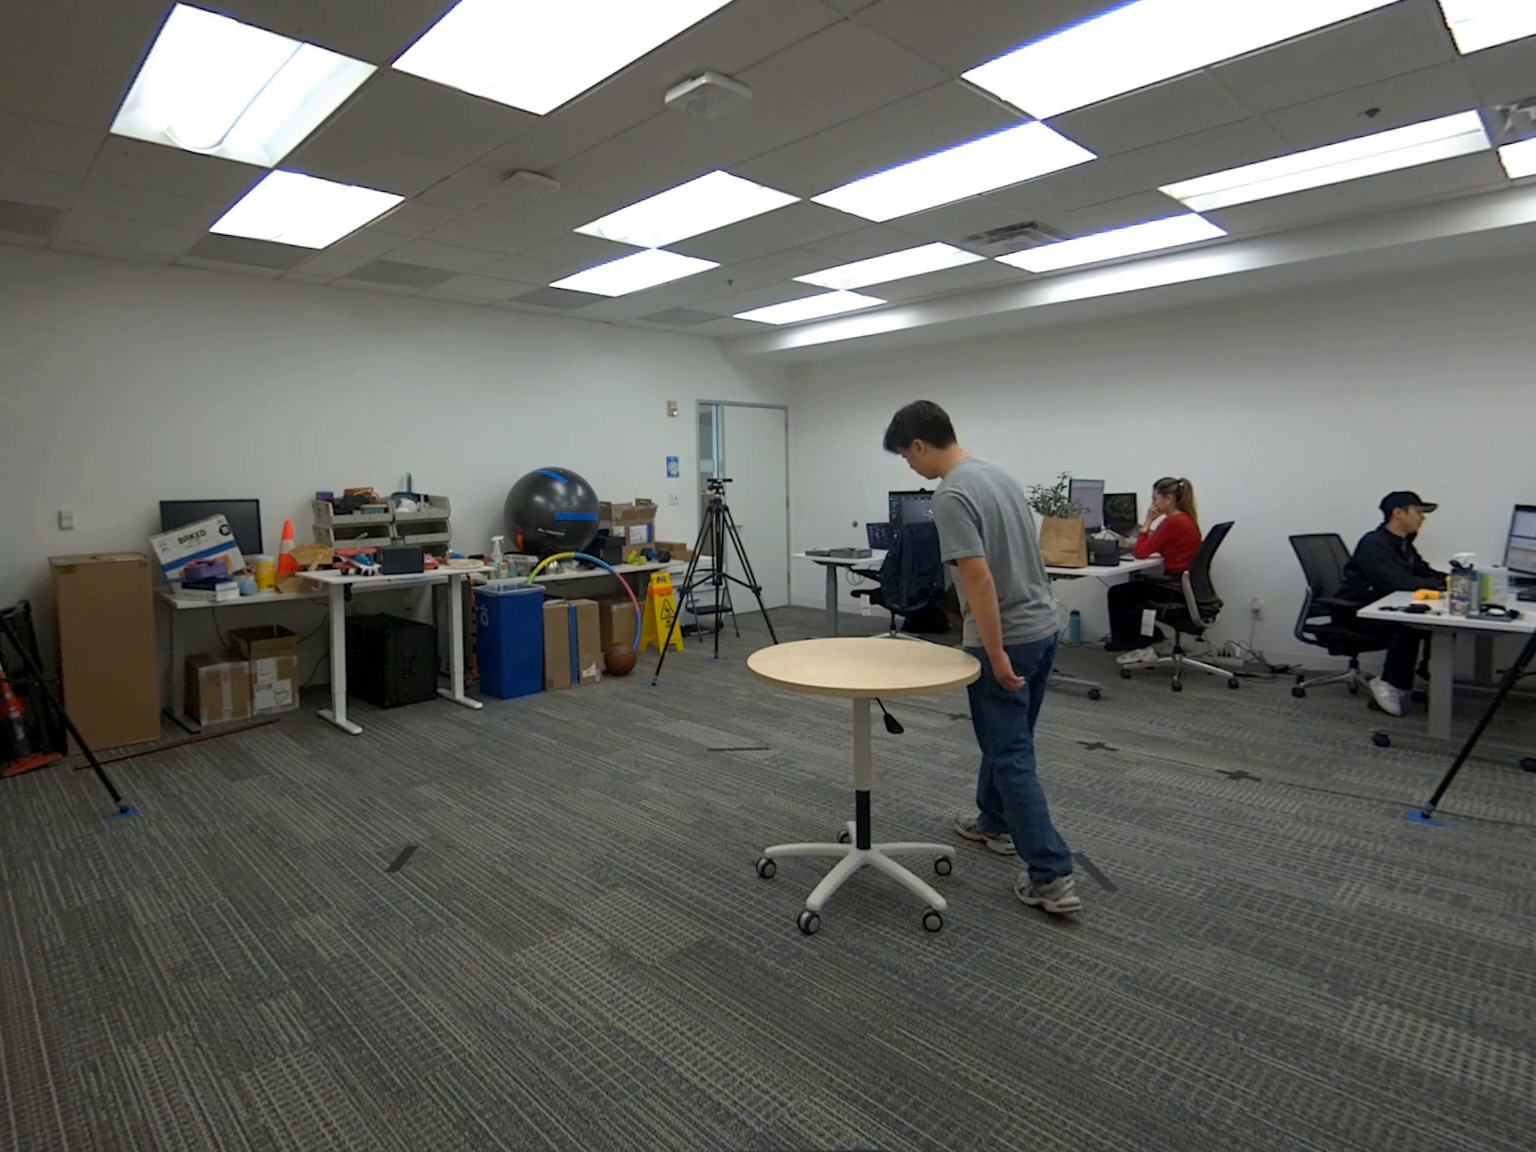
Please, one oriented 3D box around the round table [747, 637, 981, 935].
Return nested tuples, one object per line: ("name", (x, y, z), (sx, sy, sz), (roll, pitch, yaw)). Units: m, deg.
("round table", (0.323, 0.673, 2.886), (0.763, 0.790, 0.768), (-1, 5, -2))
